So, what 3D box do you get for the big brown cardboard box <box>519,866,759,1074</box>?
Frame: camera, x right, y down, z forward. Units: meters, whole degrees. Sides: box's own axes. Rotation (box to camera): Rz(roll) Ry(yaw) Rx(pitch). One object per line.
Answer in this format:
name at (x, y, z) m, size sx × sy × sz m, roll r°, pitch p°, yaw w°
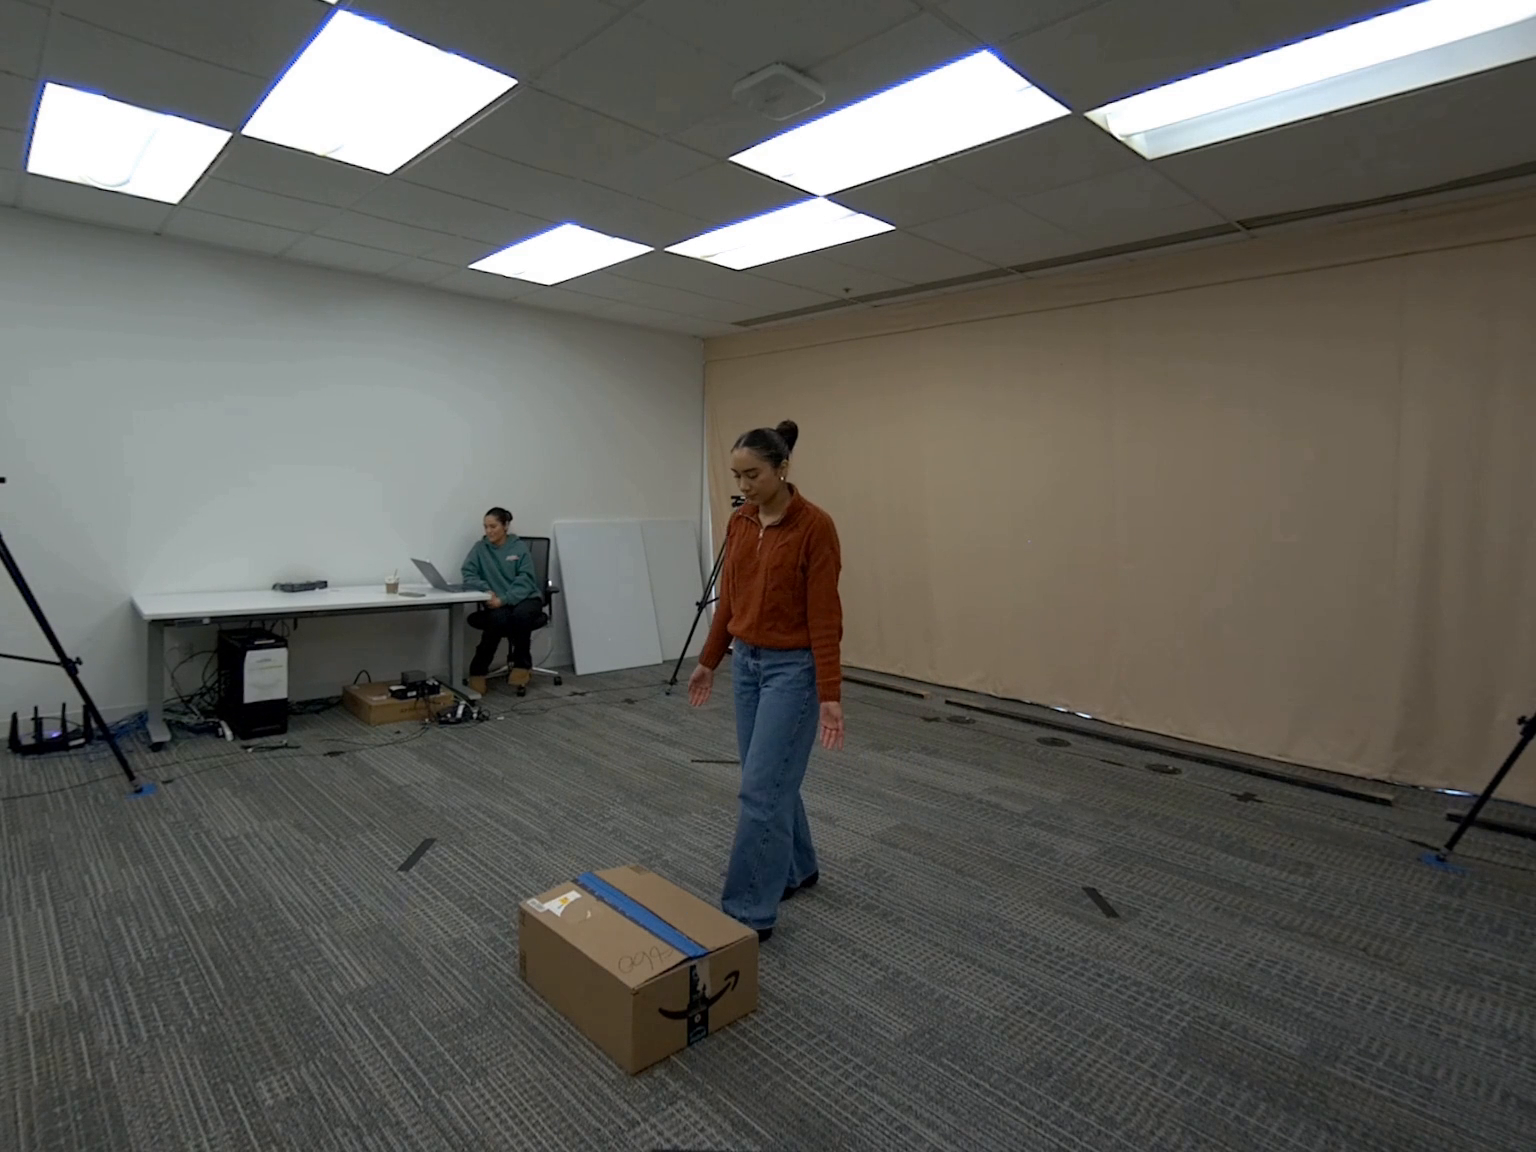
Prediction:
big brown cardboard box at (-0.382, 1.057, 2.347) m, size 0.408 × 0.232 × 0.604 m, roll -3°, pitch 7°, yaw -44°
